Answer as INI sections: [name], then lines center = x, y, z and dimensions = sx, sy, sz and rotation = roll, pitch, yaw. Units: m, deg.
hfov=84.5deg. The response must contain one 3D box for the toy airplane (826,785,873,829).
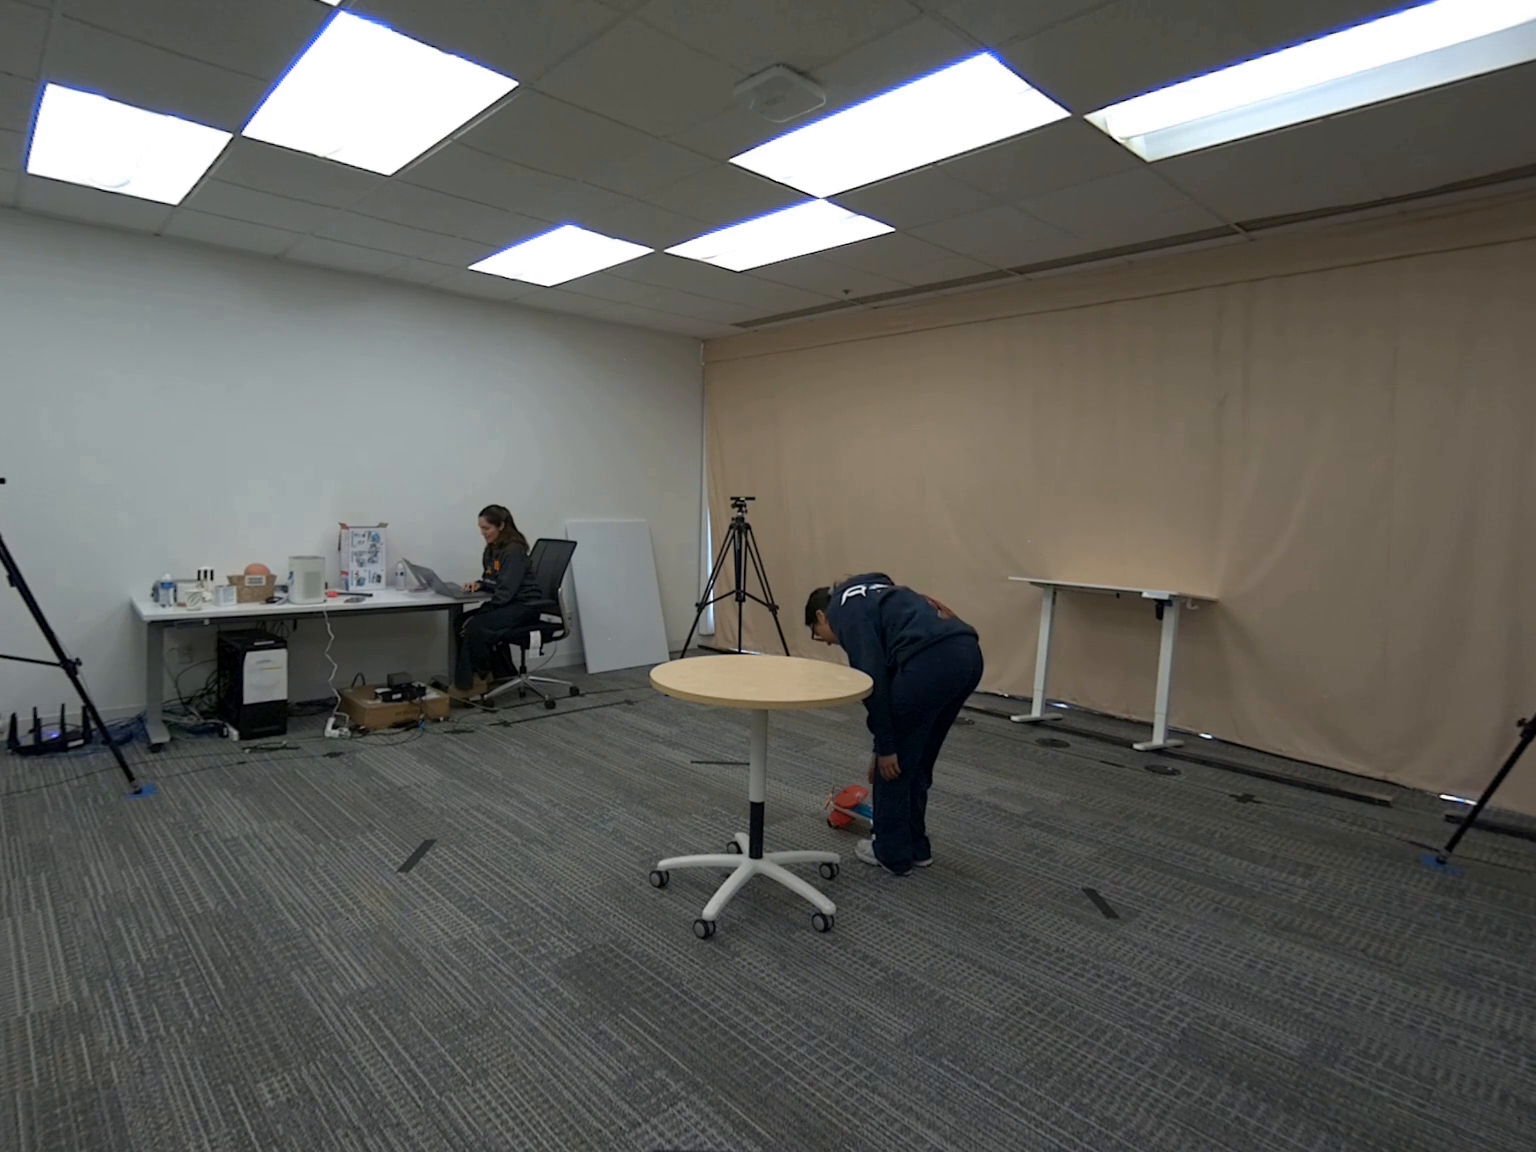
[toy airplane]
center = 0.368, 1.001, 3.606
dimensions = 0.259, 0.156, 0.251
rotation = 0, 5, 1
